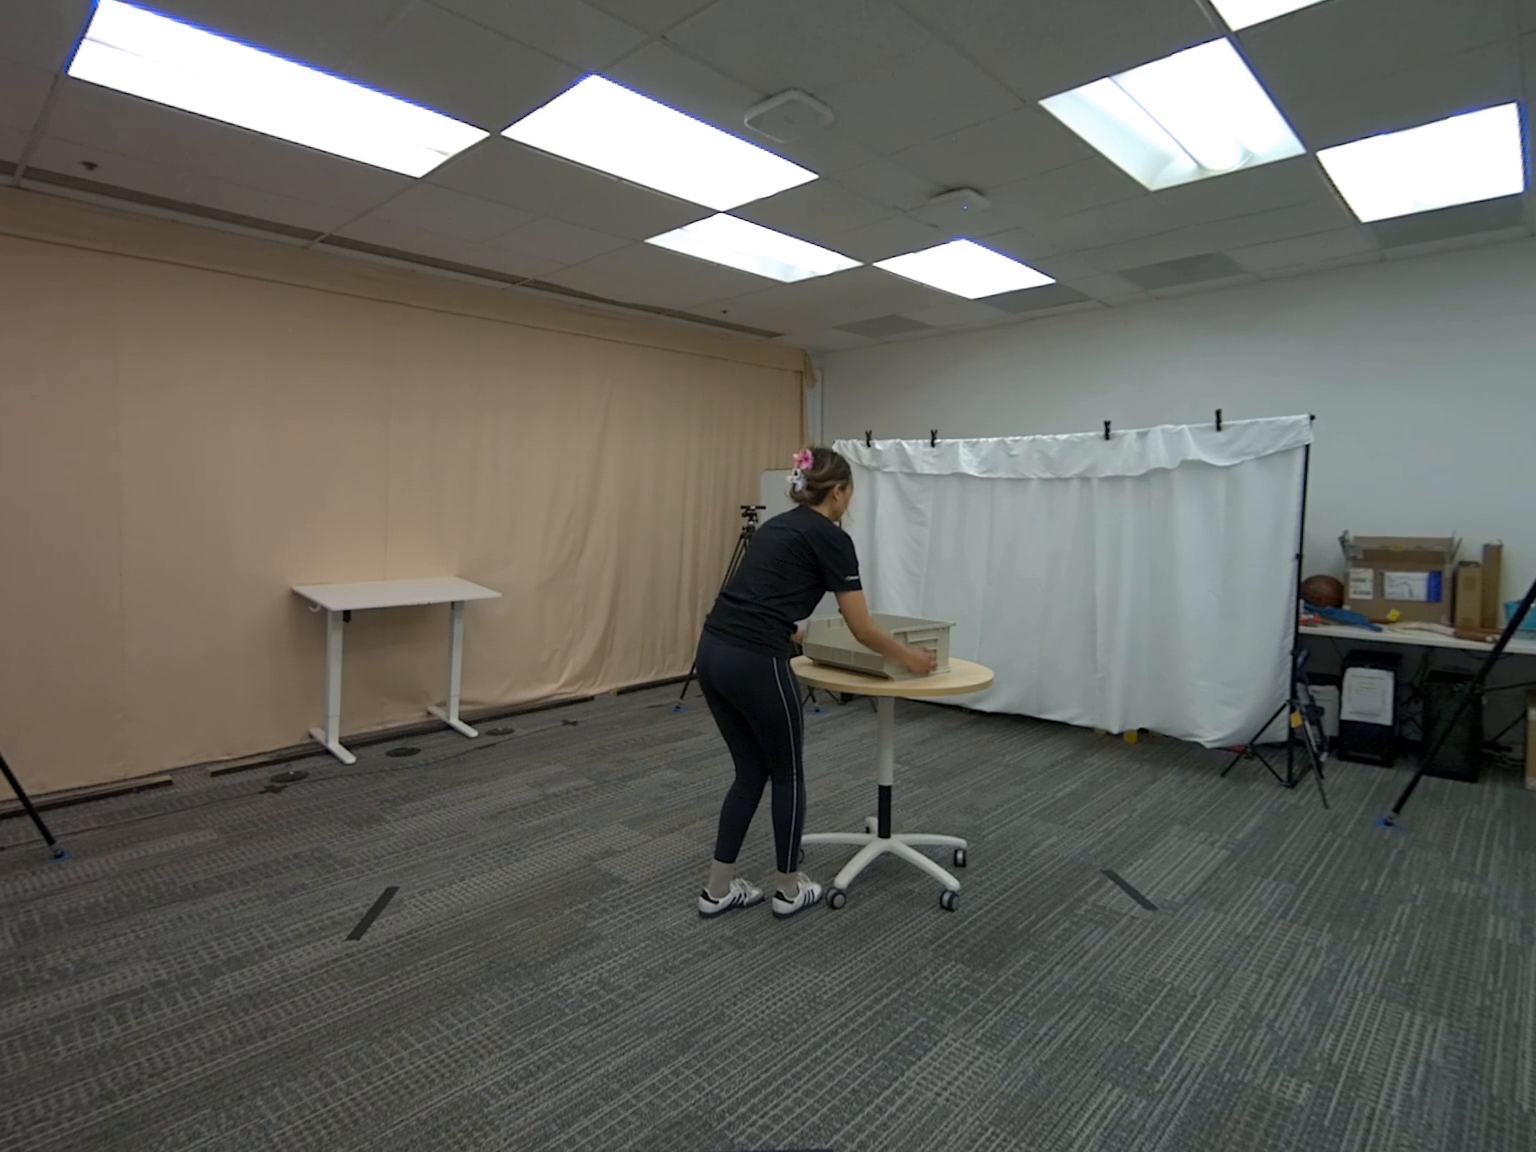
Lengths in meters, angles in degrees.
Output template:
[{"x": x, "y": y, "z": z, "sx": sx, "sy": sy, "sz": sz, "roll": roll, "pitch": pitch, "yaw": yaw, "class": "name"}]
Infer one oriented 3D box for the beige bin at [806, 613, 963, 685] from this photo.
[{"x": 0.426, "y": 0.258, "z": 3.149, "sx": 0.366, "sy": 0.189, "sz": 0.436, "roll": -1, "pitch": 3, "yaw": -37, "class": "beige bin"}]
